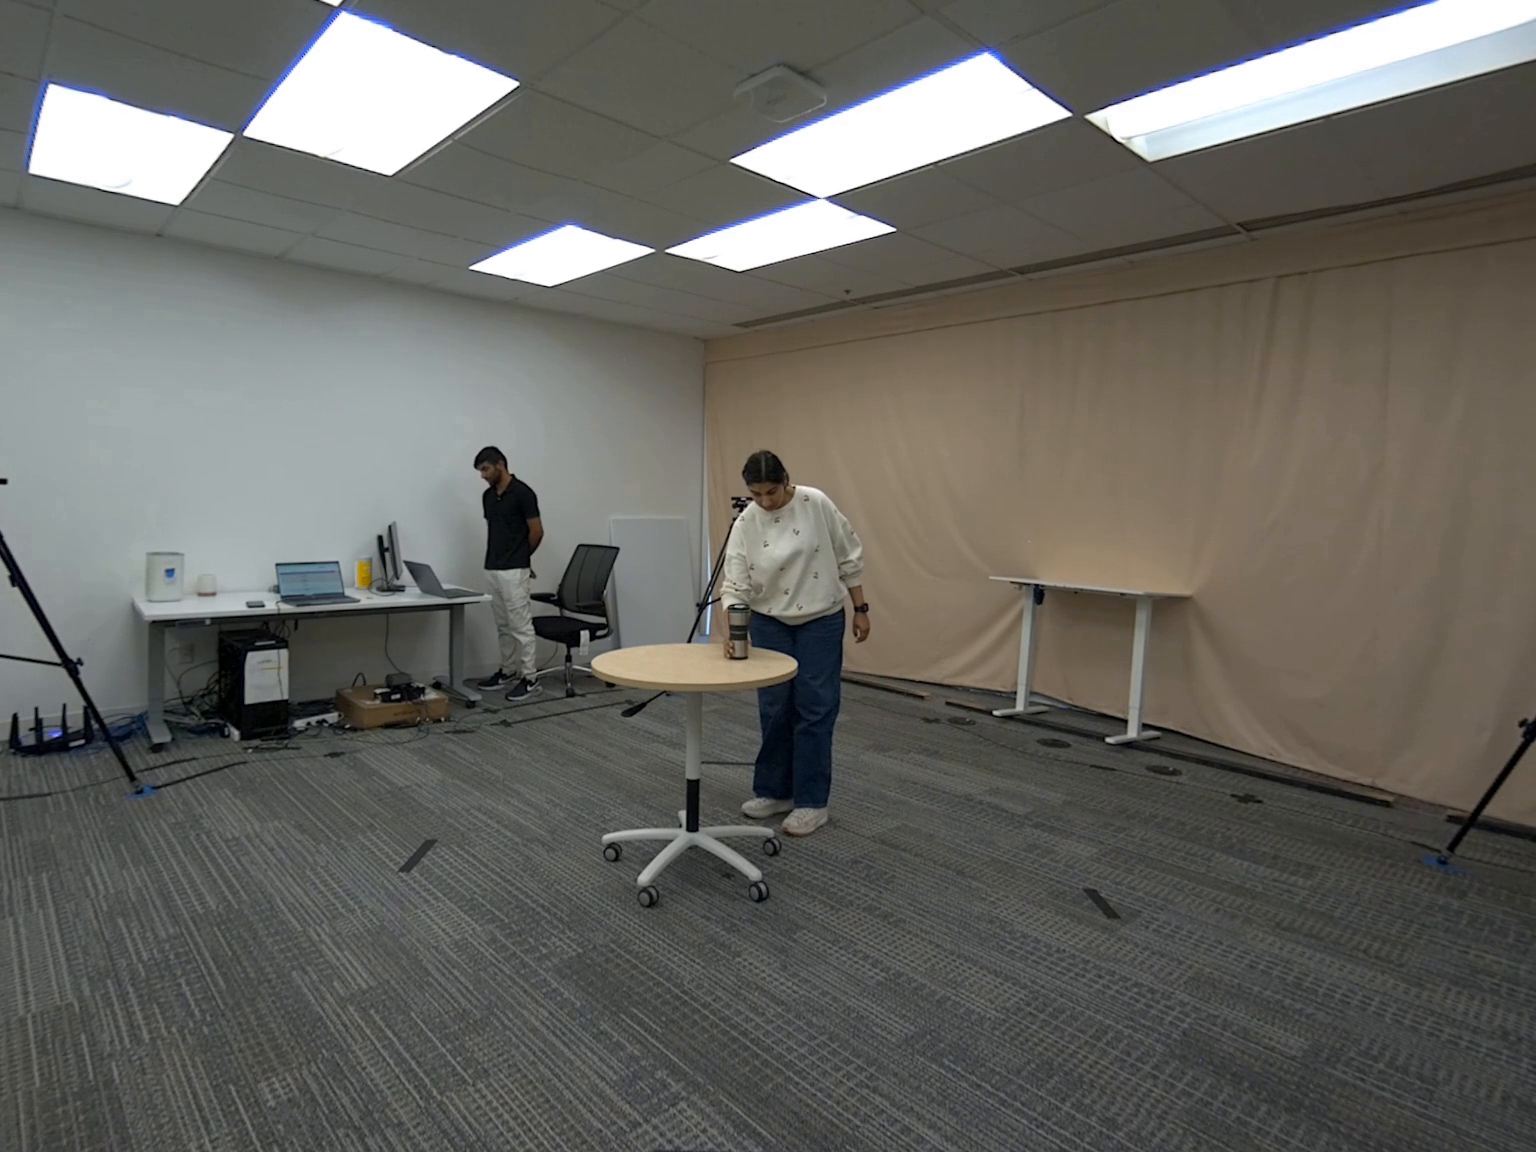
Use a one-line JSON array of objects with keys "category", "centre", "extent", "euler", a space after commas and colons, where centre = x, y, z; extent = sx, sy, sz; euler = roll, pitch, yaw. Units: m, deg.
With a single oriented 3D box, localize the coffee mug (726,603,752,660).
[{"category": "coffee mug", "centre": [-0.123, 0.215, 3.179], "extent": [0.088, 0.204, 0.122], "euler": [2, -4, -3]}]
